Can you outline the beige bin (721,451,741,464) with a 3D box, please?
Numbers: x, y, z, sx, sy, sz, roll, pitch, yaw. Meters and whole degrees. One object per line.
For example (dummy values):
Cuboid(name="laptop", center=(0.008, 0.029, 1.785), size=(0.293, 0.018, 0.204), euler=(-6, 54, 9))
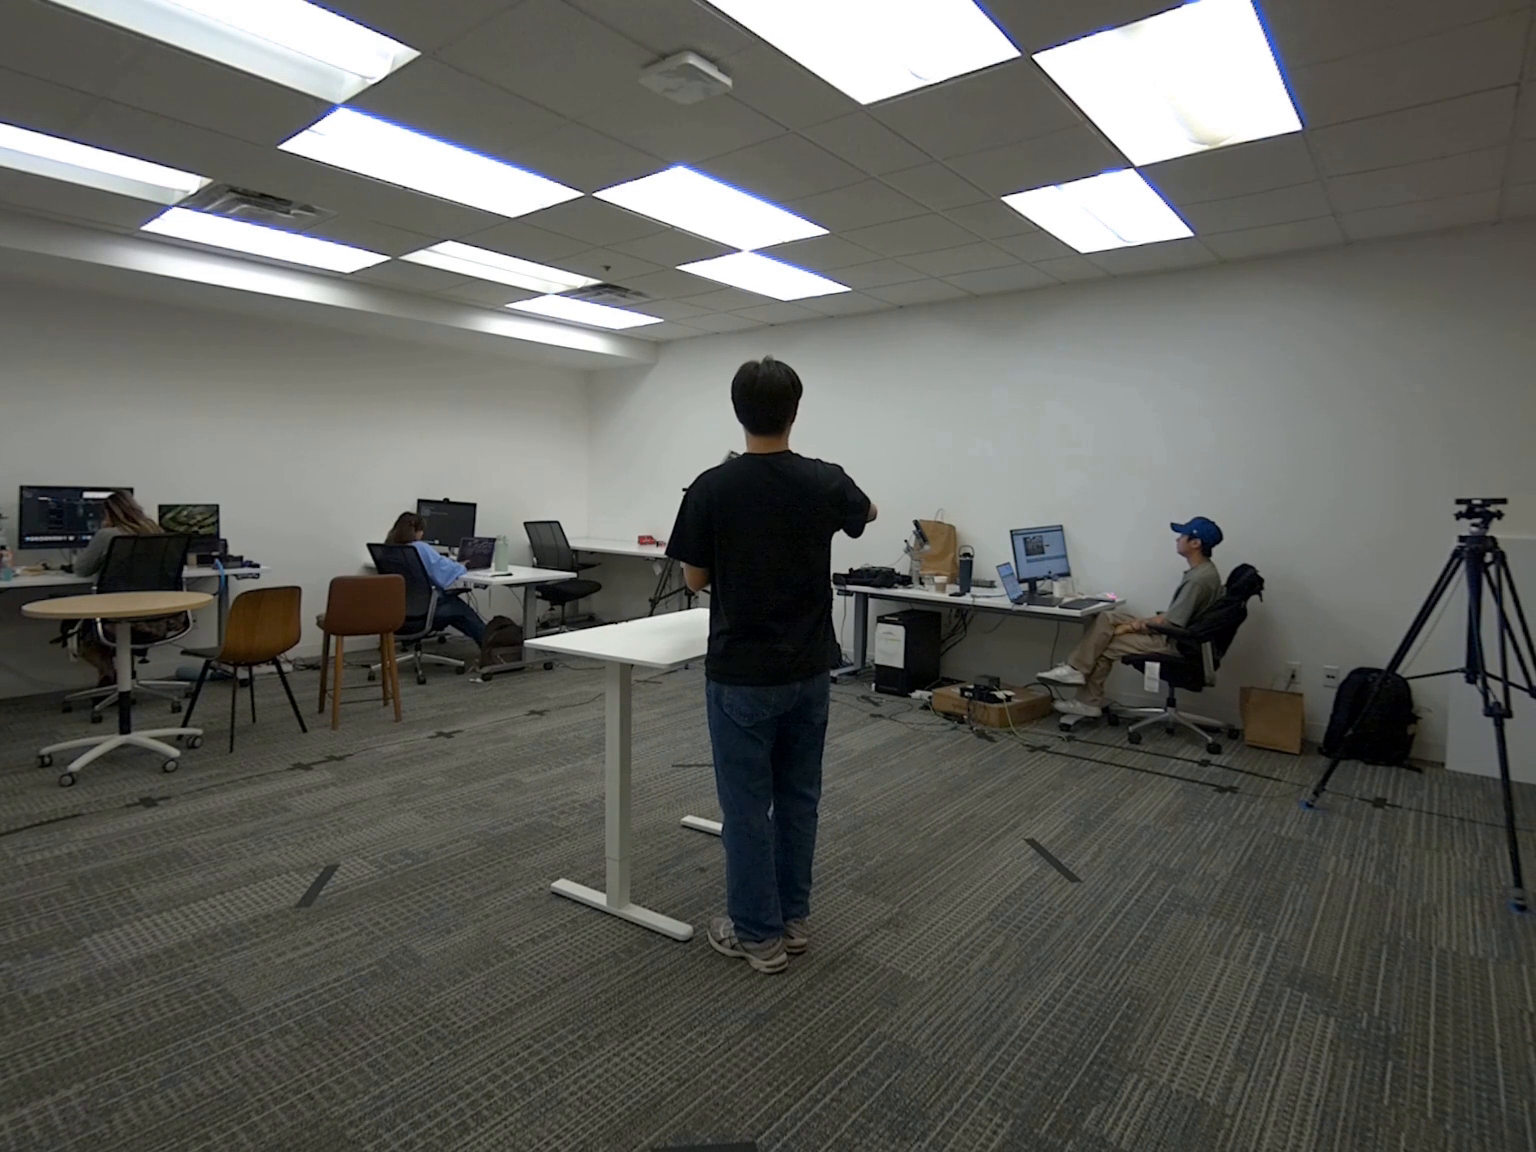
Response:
Cuboid(name="beige bin", center=(-0.076, -0.163, 2.965), size=(0.388, 0.424, 0.183), euler=(25, -22, 20))
